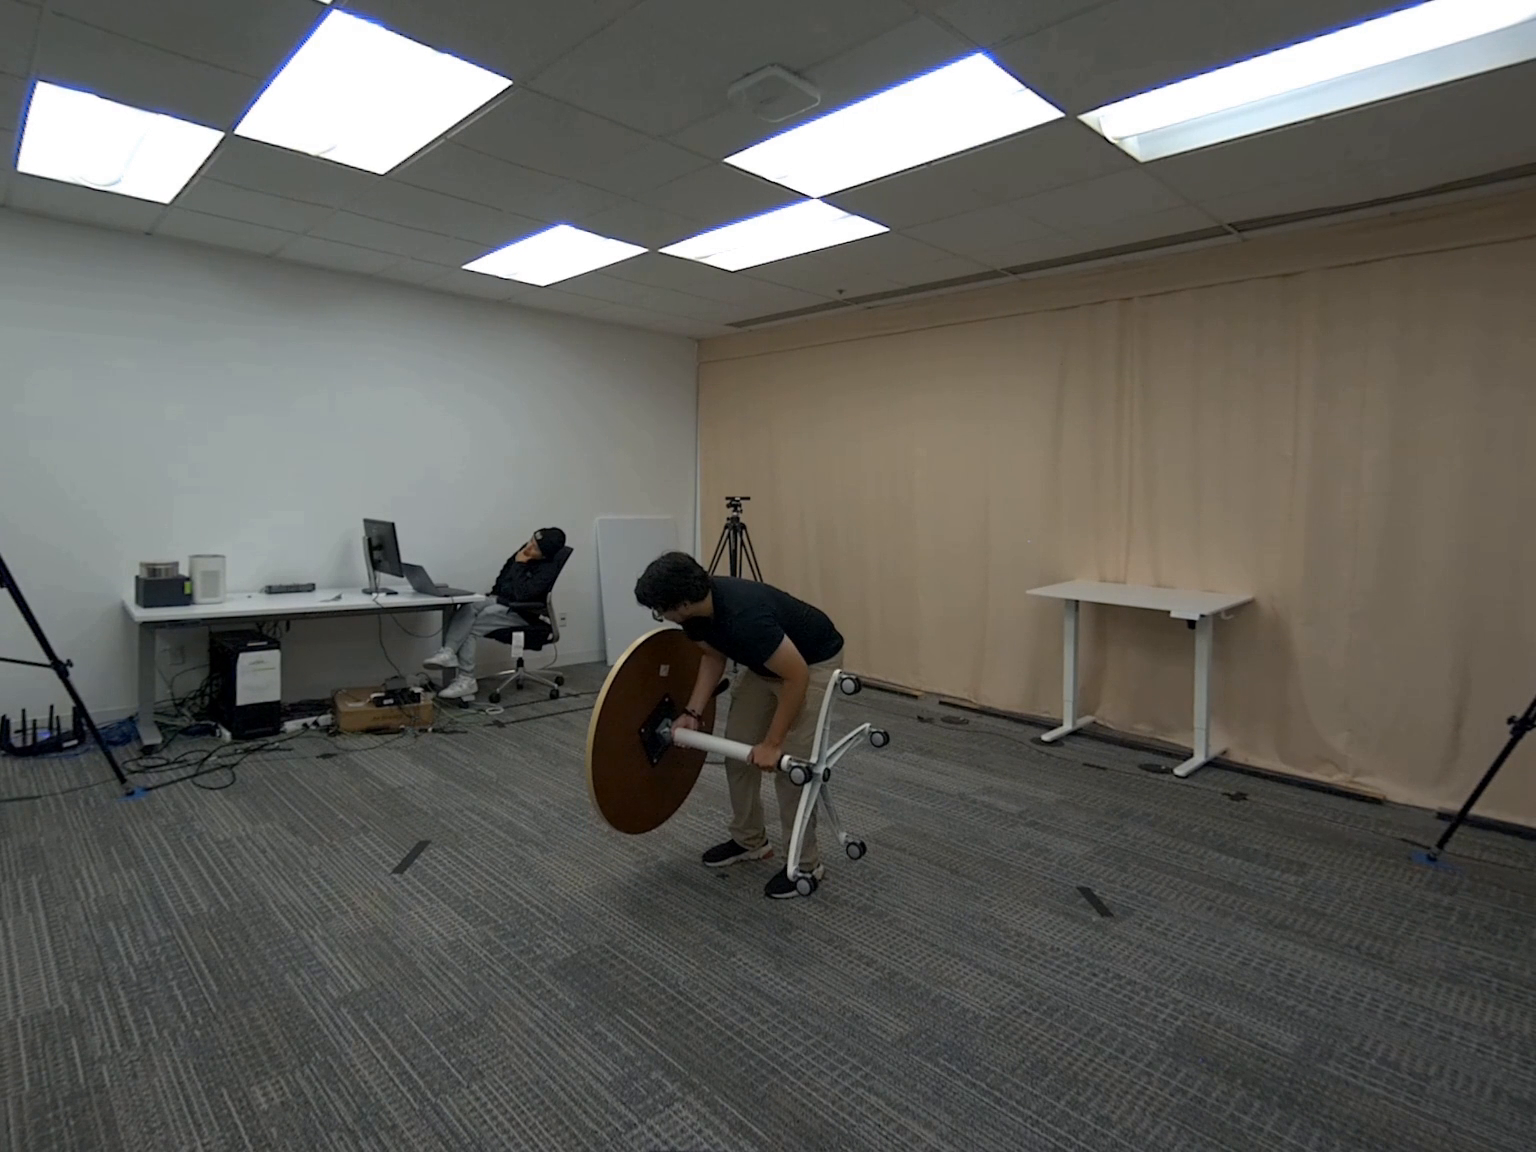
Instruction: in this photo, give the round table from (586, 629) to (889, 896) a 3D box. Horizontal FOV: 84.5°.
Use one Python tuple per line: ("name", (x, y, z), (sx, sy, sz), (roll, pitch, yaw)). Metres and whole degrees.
("round table", (-0.088, 0.620, 2.936), (0.805, 0.782, 0.770), (7, 6, 30))
